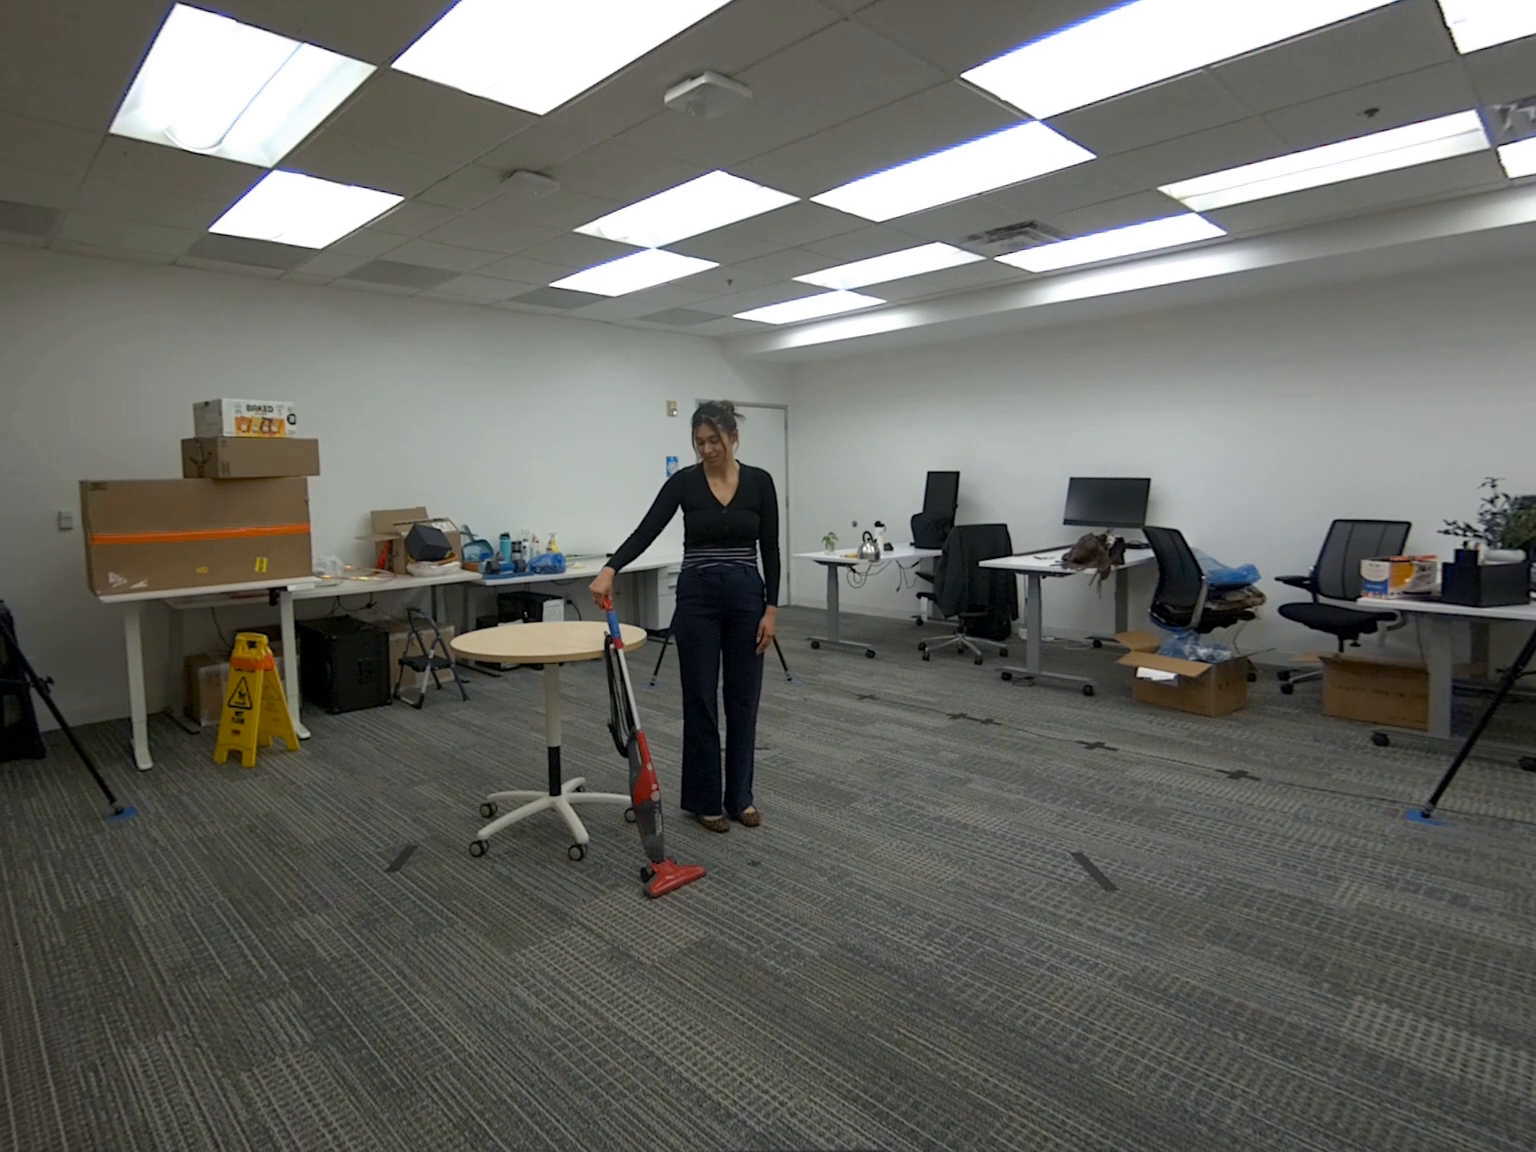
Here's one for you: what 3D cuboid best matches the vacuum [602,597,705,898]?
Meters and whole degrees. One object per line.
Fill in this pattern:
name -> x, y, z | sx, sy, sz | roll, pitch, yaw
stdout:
vacuum -> -0.494, 0.561, 3.082 | 0.246, 1.063, 0.146 | -6, -15, -42
